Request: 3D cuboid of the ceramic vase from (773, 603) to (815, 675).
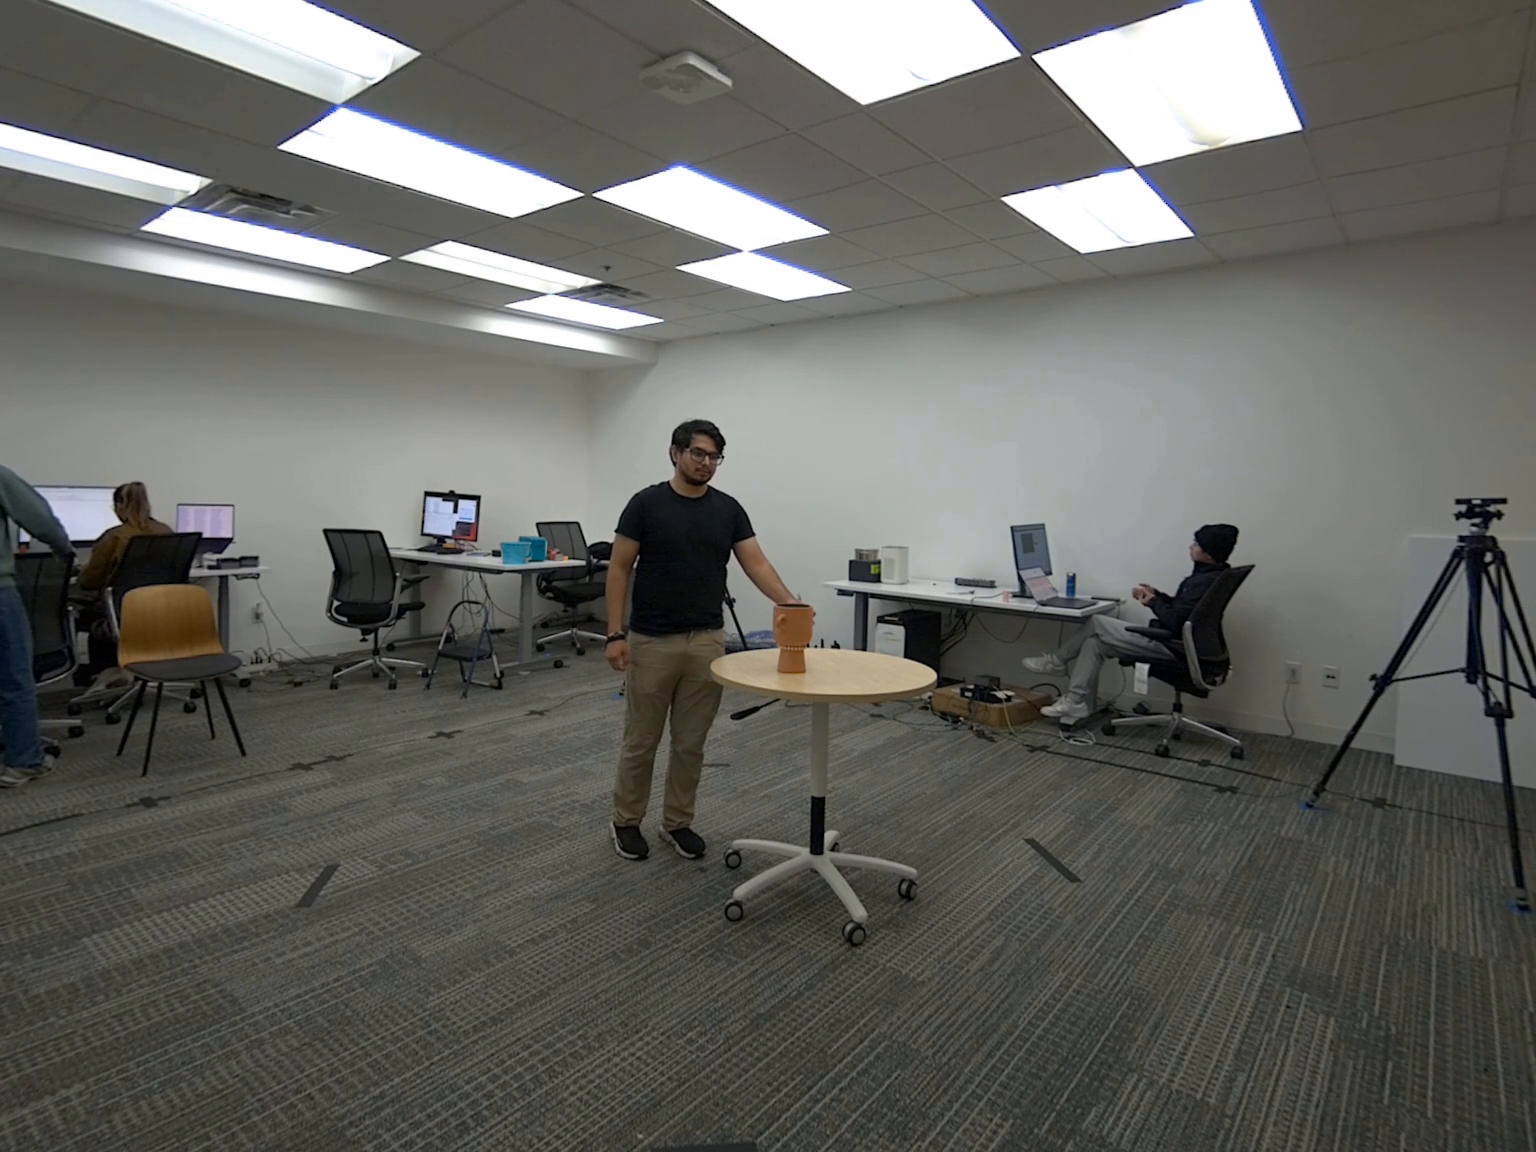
[{"bbox_3d":[0.077,0.209,2.859,0.156,0.219,0.138,-1,3,-20],"label":"ceramic vase"}]
